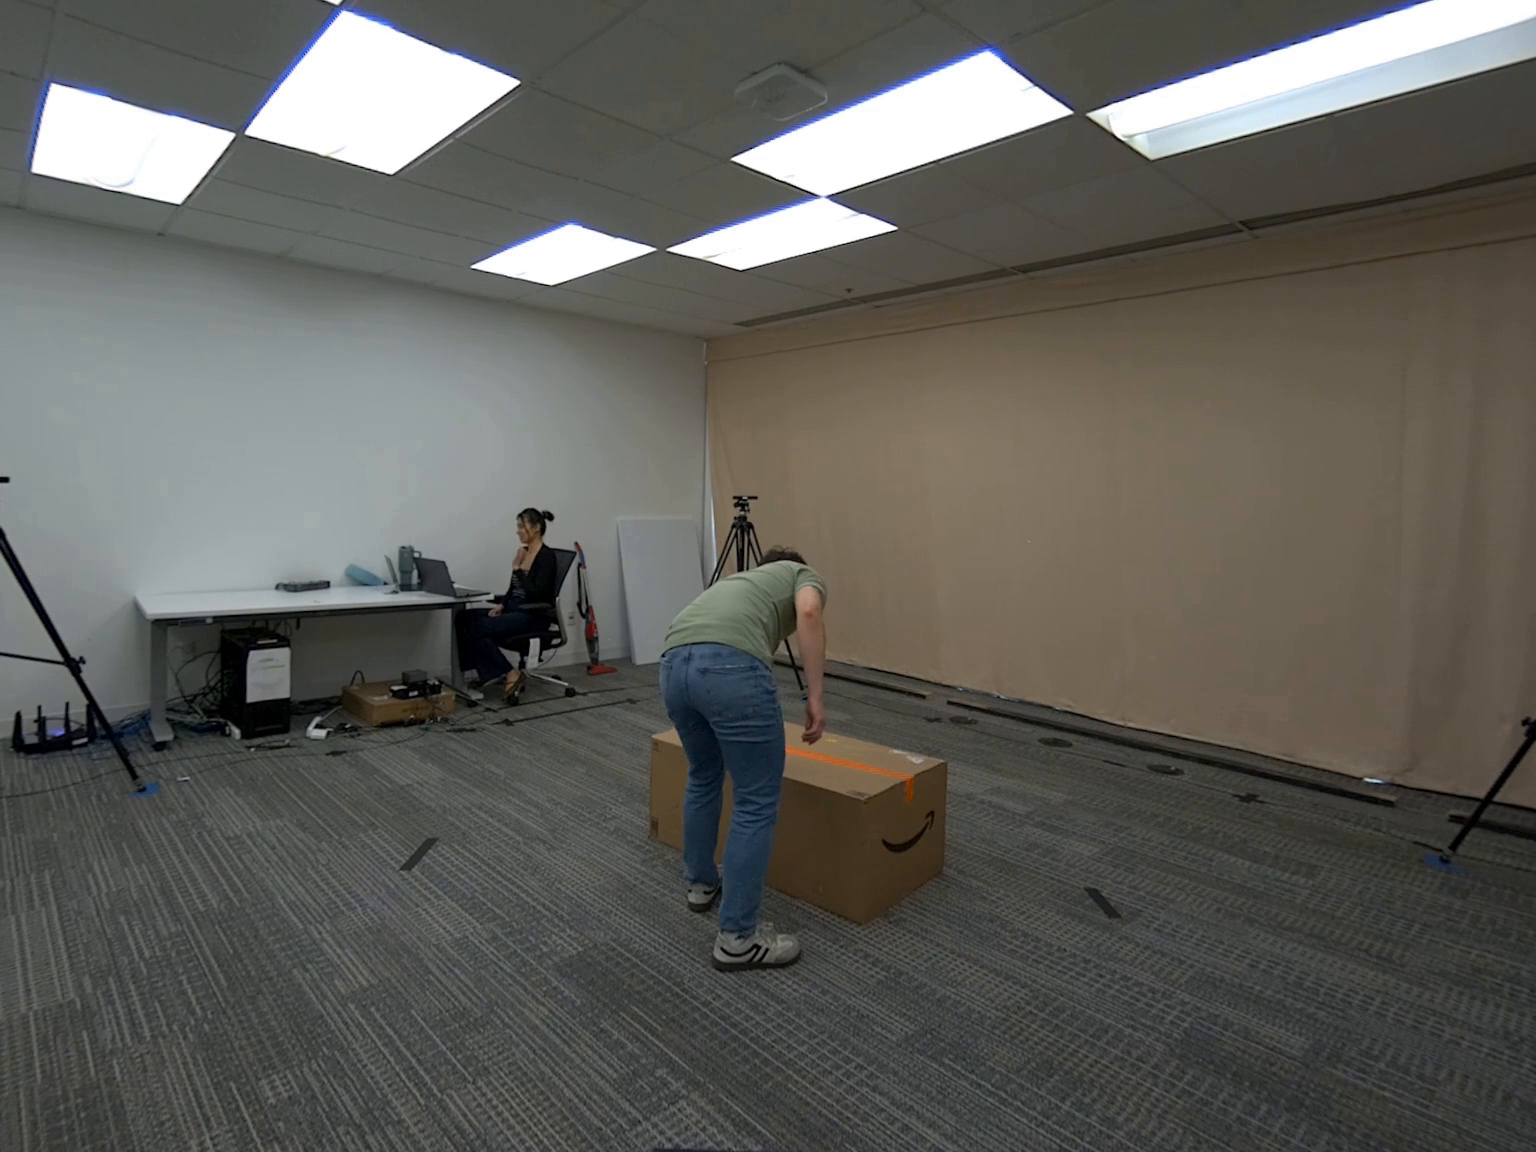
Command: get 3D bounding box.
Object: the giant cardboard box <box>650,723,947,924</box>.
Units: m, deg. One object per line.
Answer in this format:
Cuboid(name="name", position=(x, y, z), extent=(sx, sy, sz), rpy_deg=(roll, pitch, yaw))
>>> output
Cuboid(name="giant cardboard box", position=(0.088, 0.880, 3.289), extent=(1.052, 0.425, 0.564), rpy_deg=(5, 5, 40))
